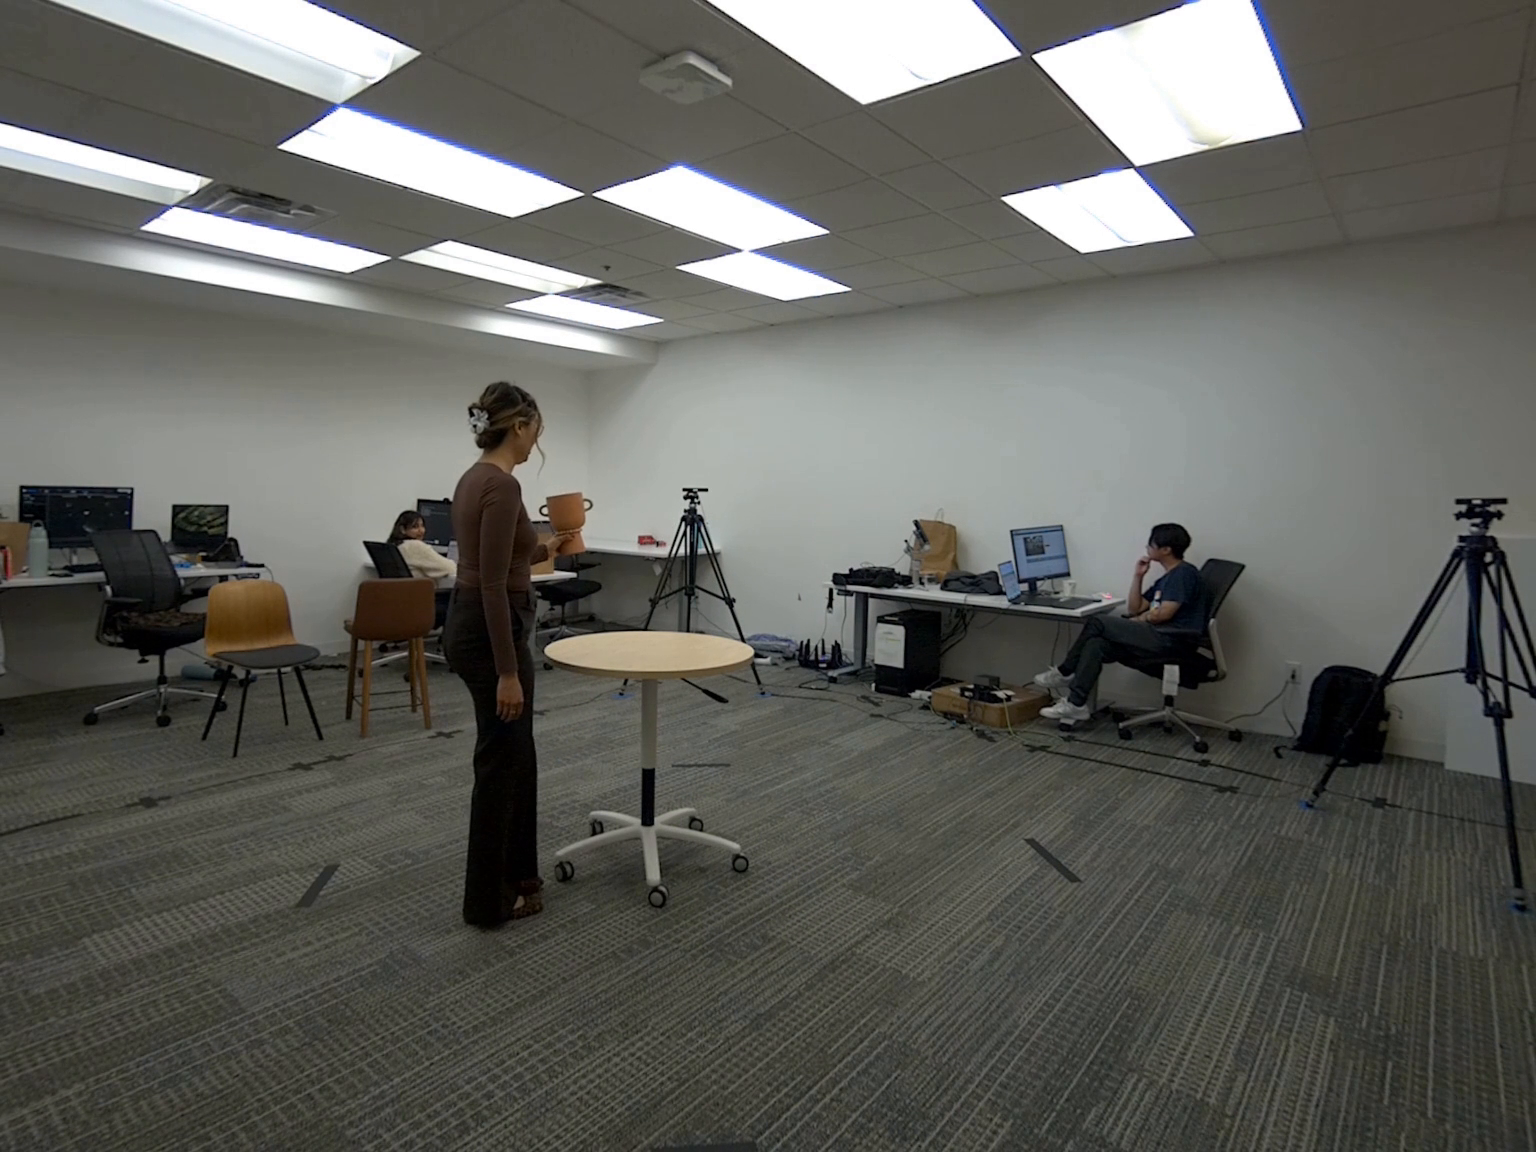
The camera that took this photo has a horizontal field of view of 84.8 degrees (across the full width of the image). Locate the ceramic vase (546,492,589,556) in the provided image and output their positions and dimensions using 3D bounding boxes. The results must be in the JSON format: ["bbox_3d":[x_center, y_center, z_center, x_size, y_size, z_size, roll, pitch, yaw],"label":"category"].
[{"bbox_3d":[-0.756,-0.198,3.141,0.163,0.219,0.132,-5,5,32],"label":"ceramic vase"}]
